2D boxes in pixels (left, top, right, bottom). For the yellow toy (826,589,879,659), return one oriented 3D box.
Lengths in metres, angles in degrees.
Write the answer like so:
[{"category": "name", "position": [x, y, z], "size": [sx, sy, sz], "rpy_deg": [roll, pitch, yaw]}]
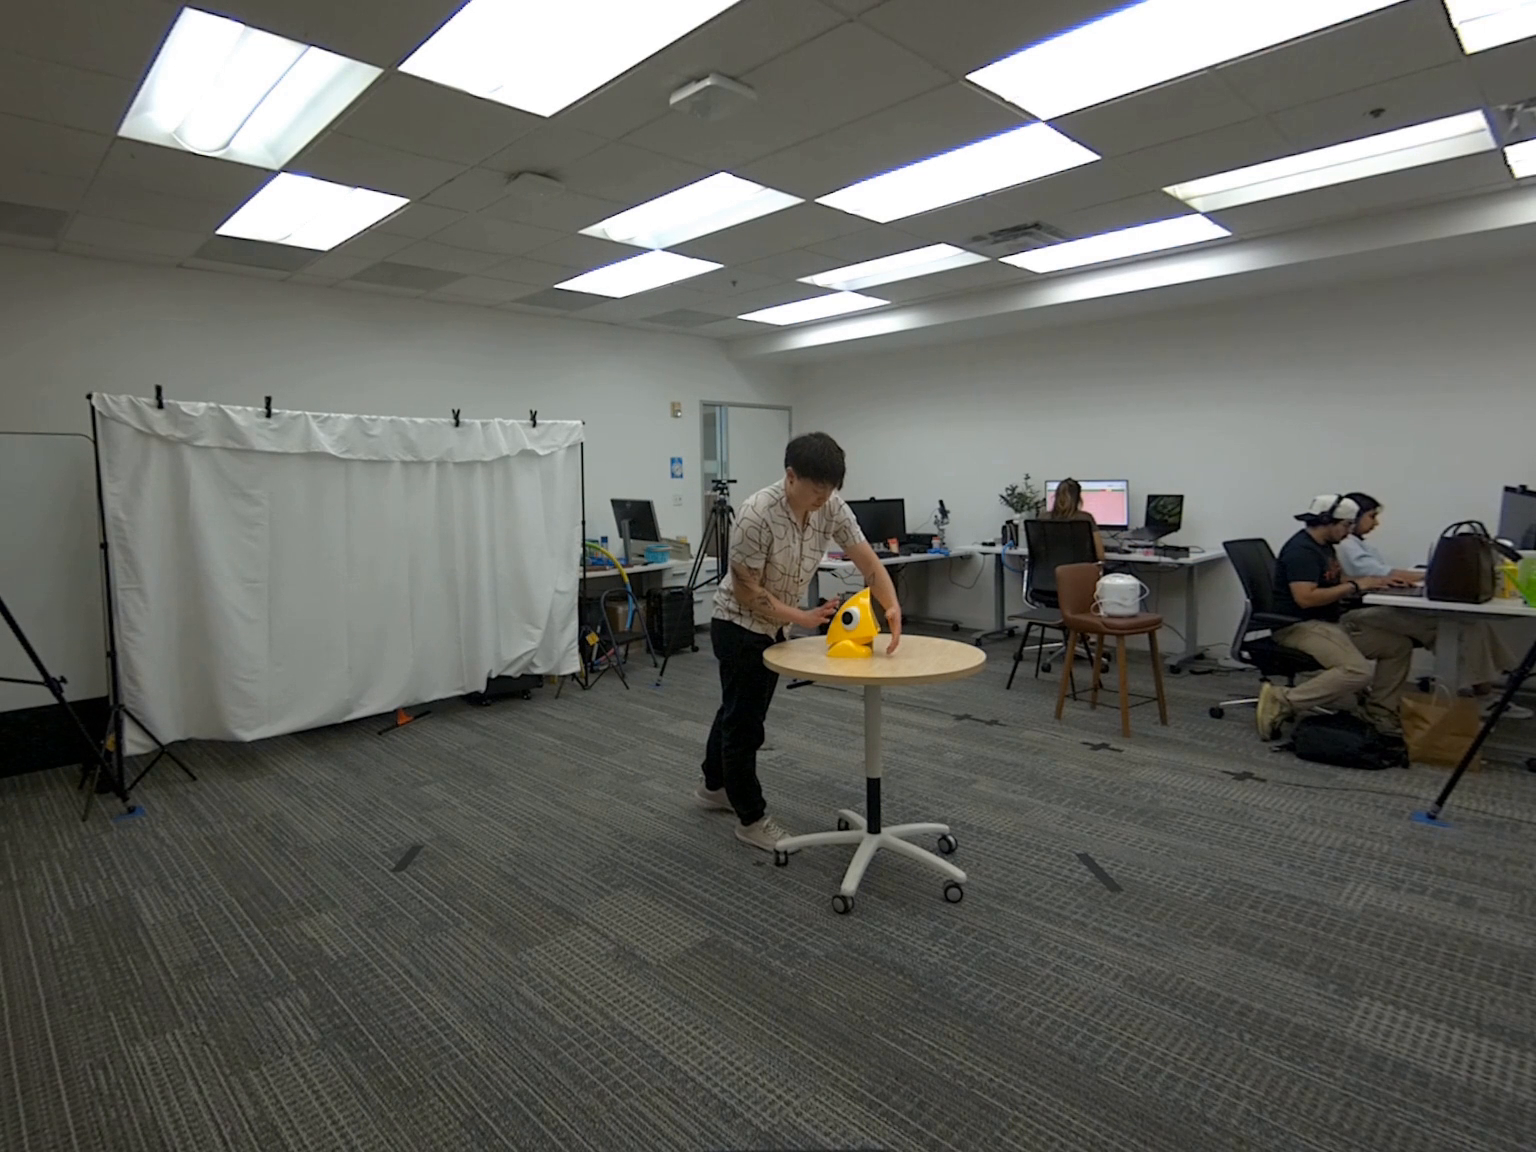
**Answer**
[{"category": "yellow toy", "position": [0.302, 0.159, 3.011], "size": [0.195, 0.230, 0.203], "rpy_deg": [-2, 4, 12]}]
